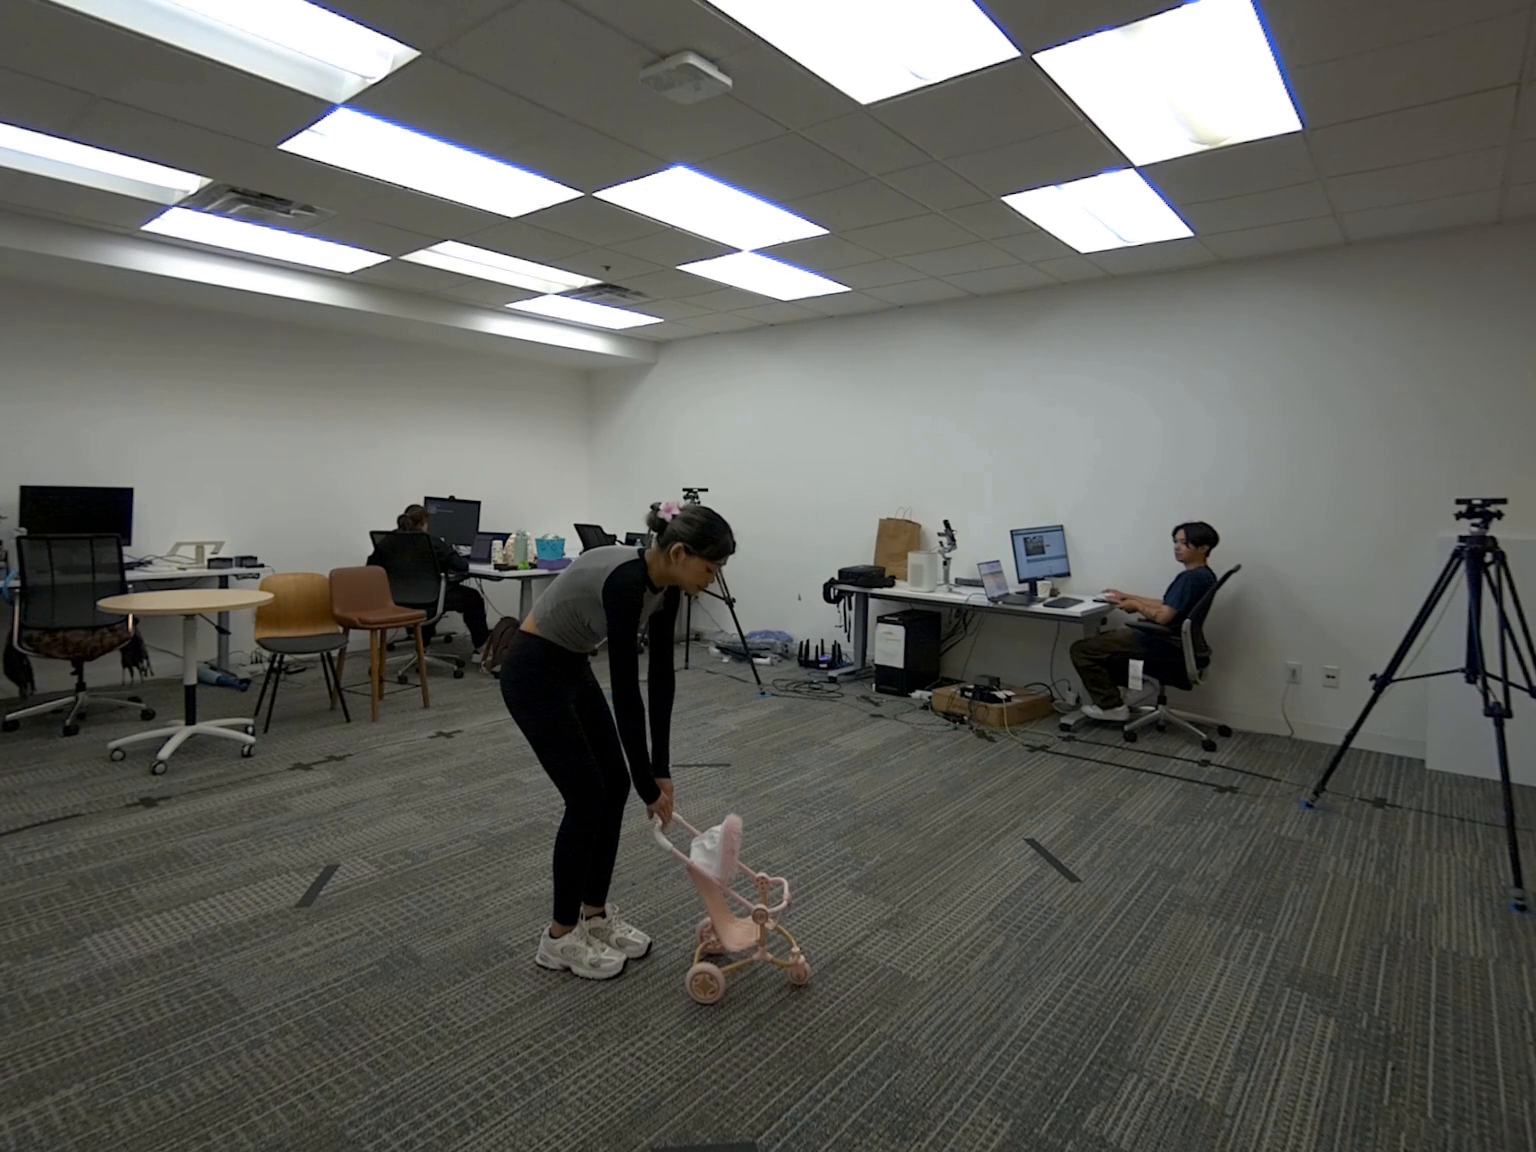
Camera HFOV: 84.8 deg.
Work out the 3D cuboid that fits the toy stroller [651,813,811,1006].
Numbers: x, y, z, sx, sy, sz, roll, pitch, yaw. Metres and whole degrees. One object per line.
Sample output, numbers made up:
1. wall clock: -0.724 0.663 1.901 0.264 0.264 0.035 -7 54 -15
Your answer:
1. toy stroller: -0.102 0.920 2.395 0.344 0.535 0.279 -13 1 9
